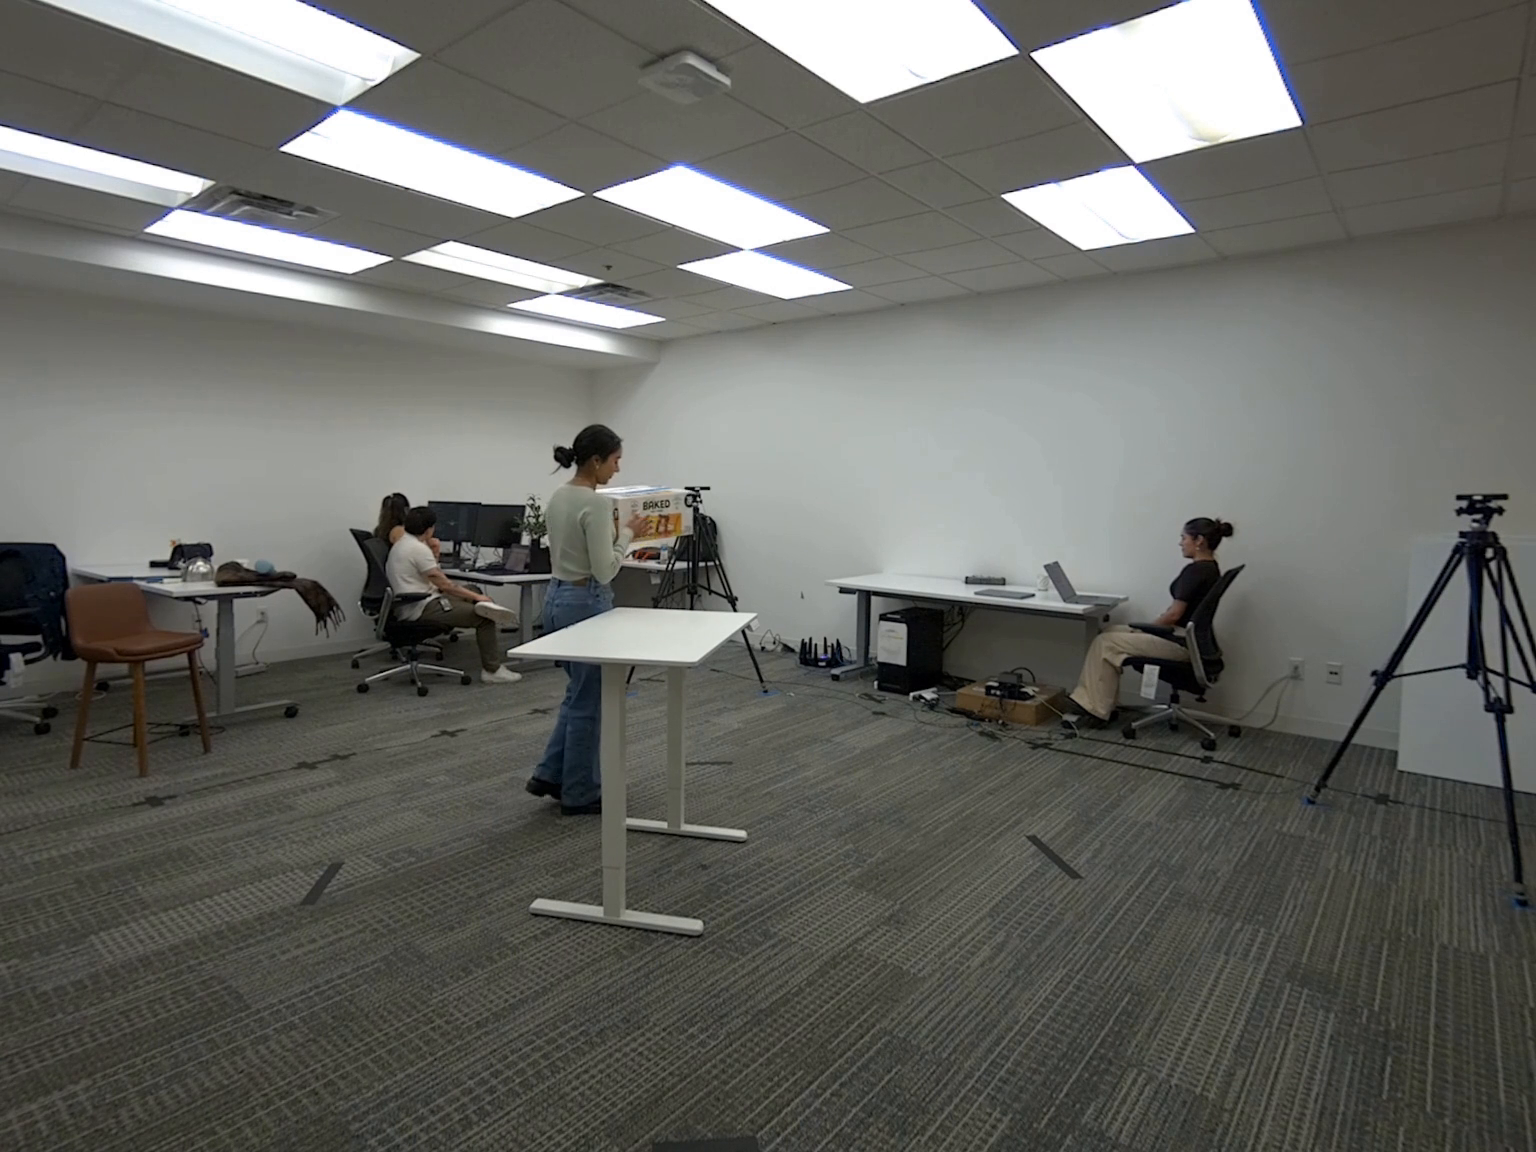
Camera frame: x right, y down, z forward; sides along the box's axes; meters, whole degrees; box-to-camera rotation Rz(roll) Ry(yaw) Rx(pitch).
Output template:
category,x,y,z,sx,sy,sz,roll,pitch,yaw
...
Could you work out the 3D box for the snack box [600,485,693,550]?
category,x,y,z,sx,sy,sz,roll,pitch,yaw
snack box,-0.620,-0.295,3.897,0.394,0.203,0.353,-10,16,-41
